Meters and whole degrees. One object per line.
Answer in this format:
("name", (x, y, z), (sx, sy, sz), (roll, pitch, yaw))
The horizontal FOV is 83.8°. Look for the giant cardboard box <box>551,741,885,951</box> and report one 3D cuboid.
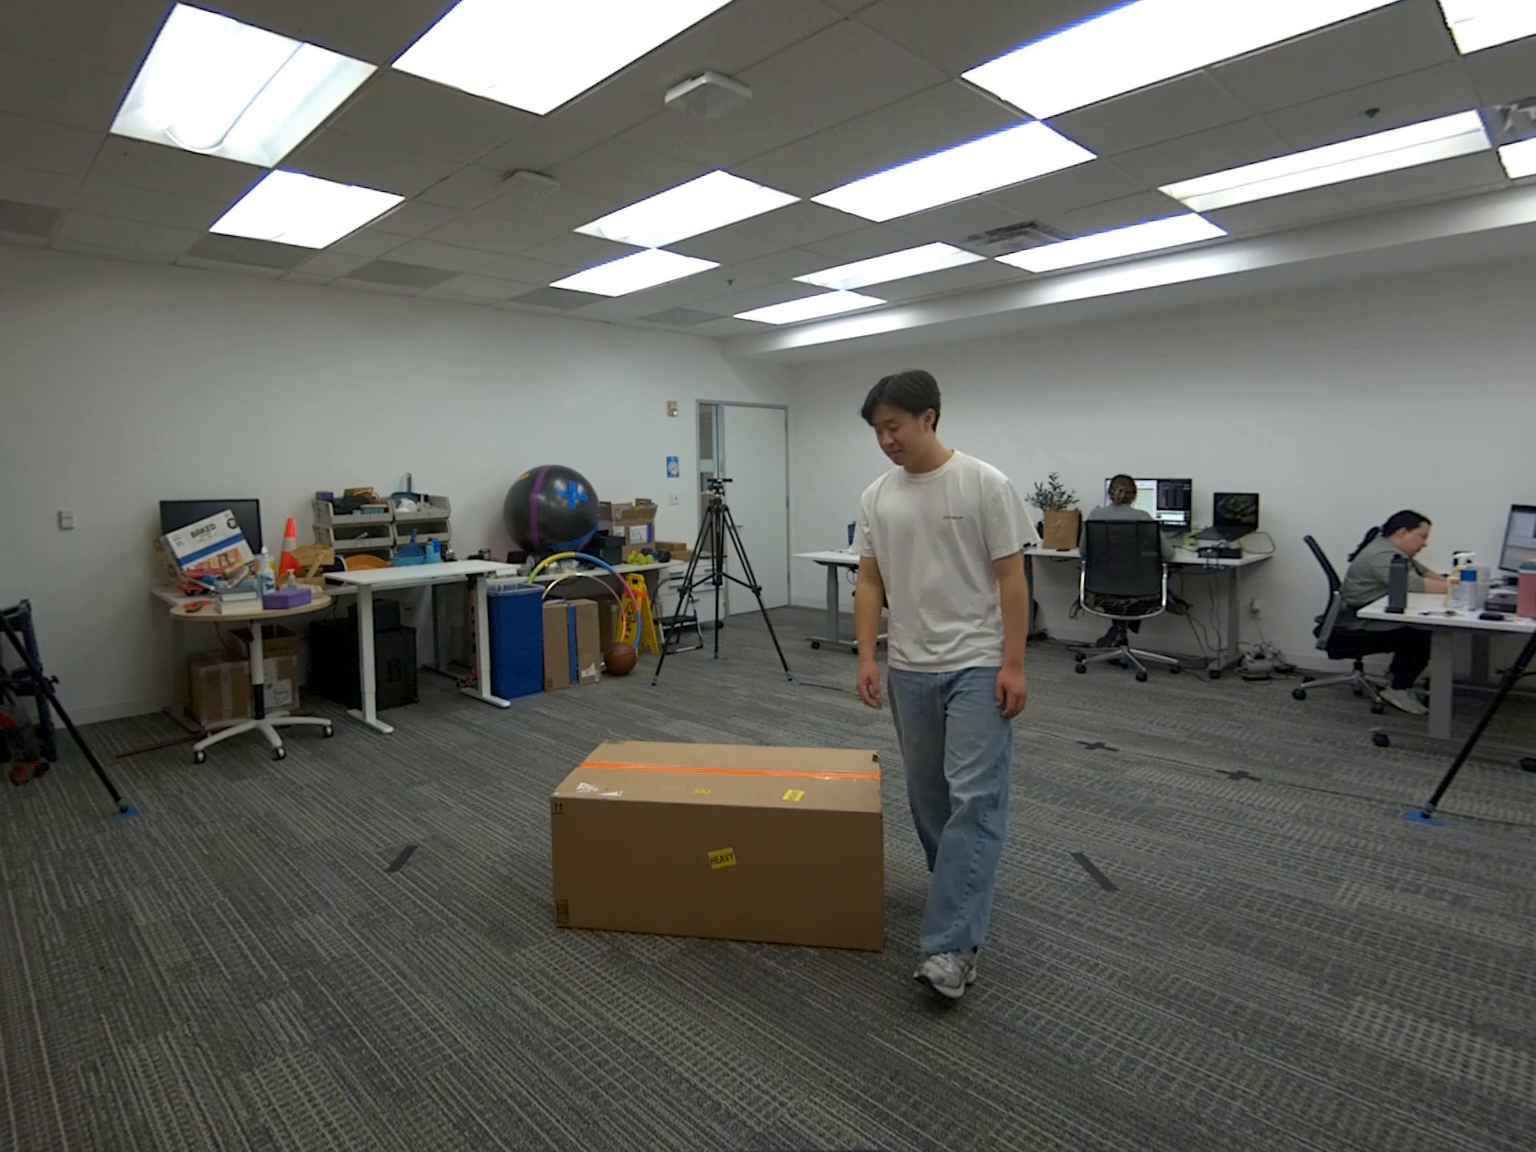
("giant cardboard box", (-0.138, 0.855, 2.866), (1.035, 0.424, 0.575), (0, 6, 9))
